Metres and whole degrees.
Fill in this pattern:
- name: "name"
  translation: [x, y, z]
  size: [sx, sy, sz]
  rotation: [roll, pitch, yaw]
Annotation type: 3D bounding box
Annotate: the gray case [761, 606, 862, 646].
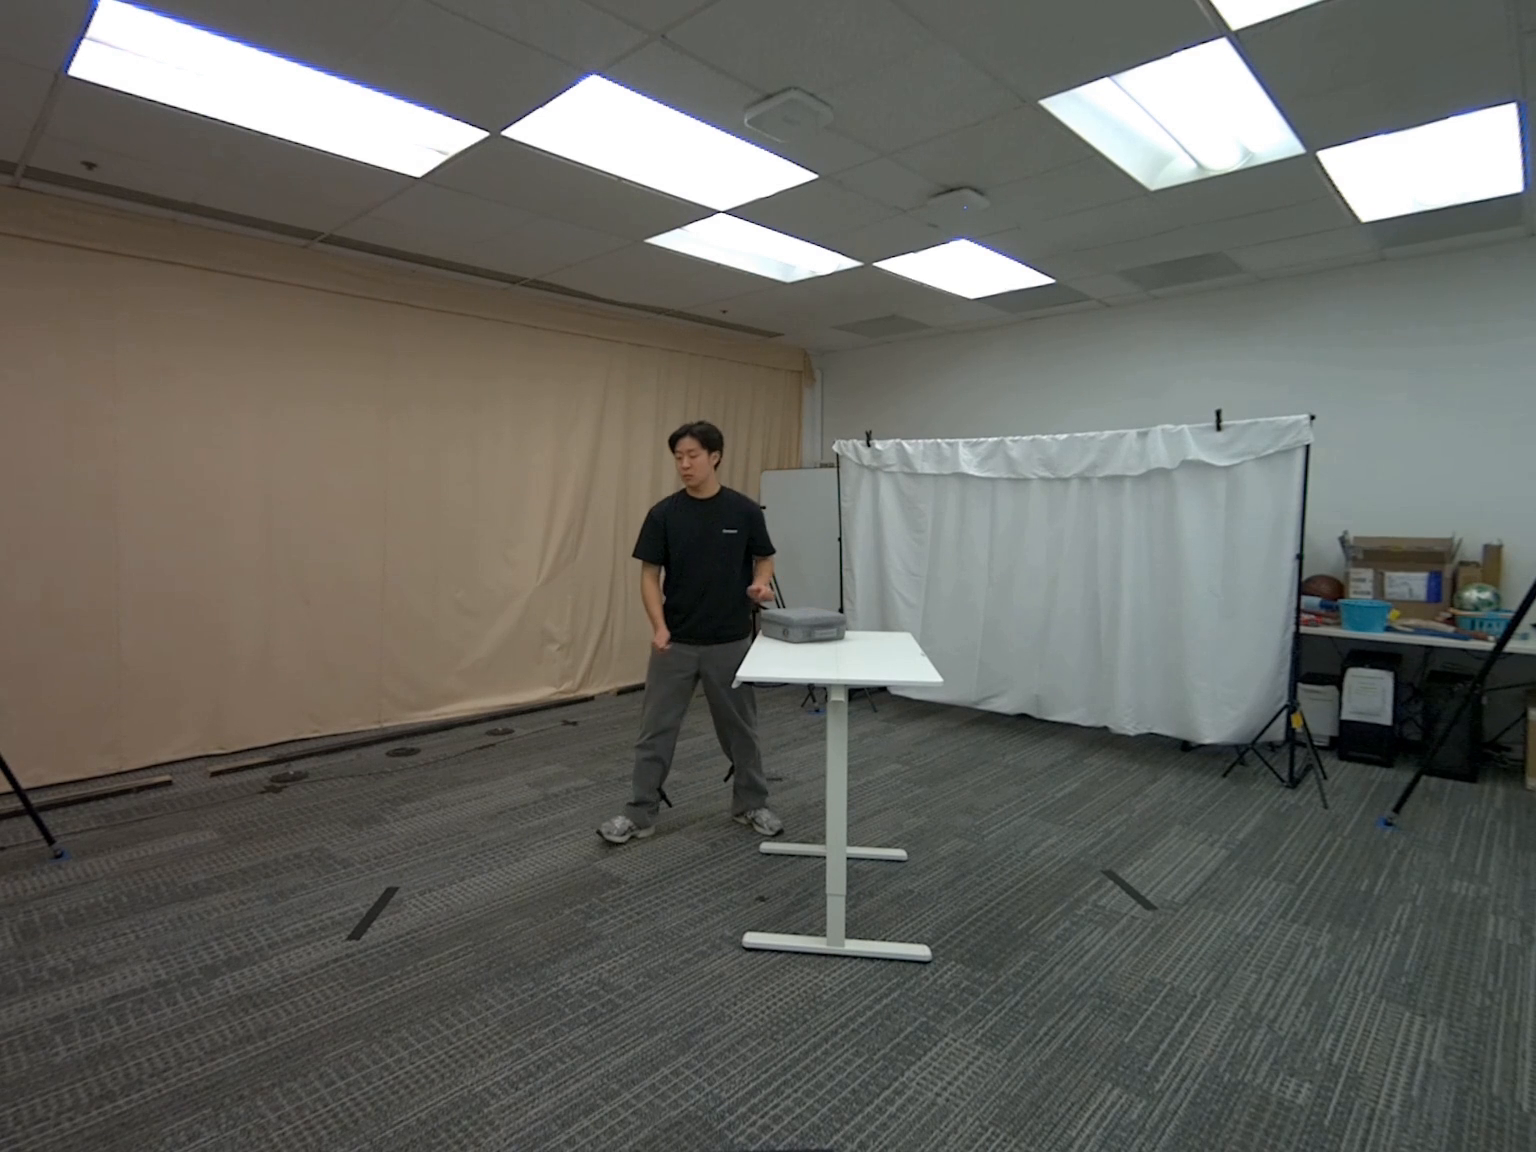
- name: "gray case"
  translation: [0.161, 0.185, 3.255]
  size: [0.280, 0.103, 0.270]
  rotation: [-2, 5, -25]
